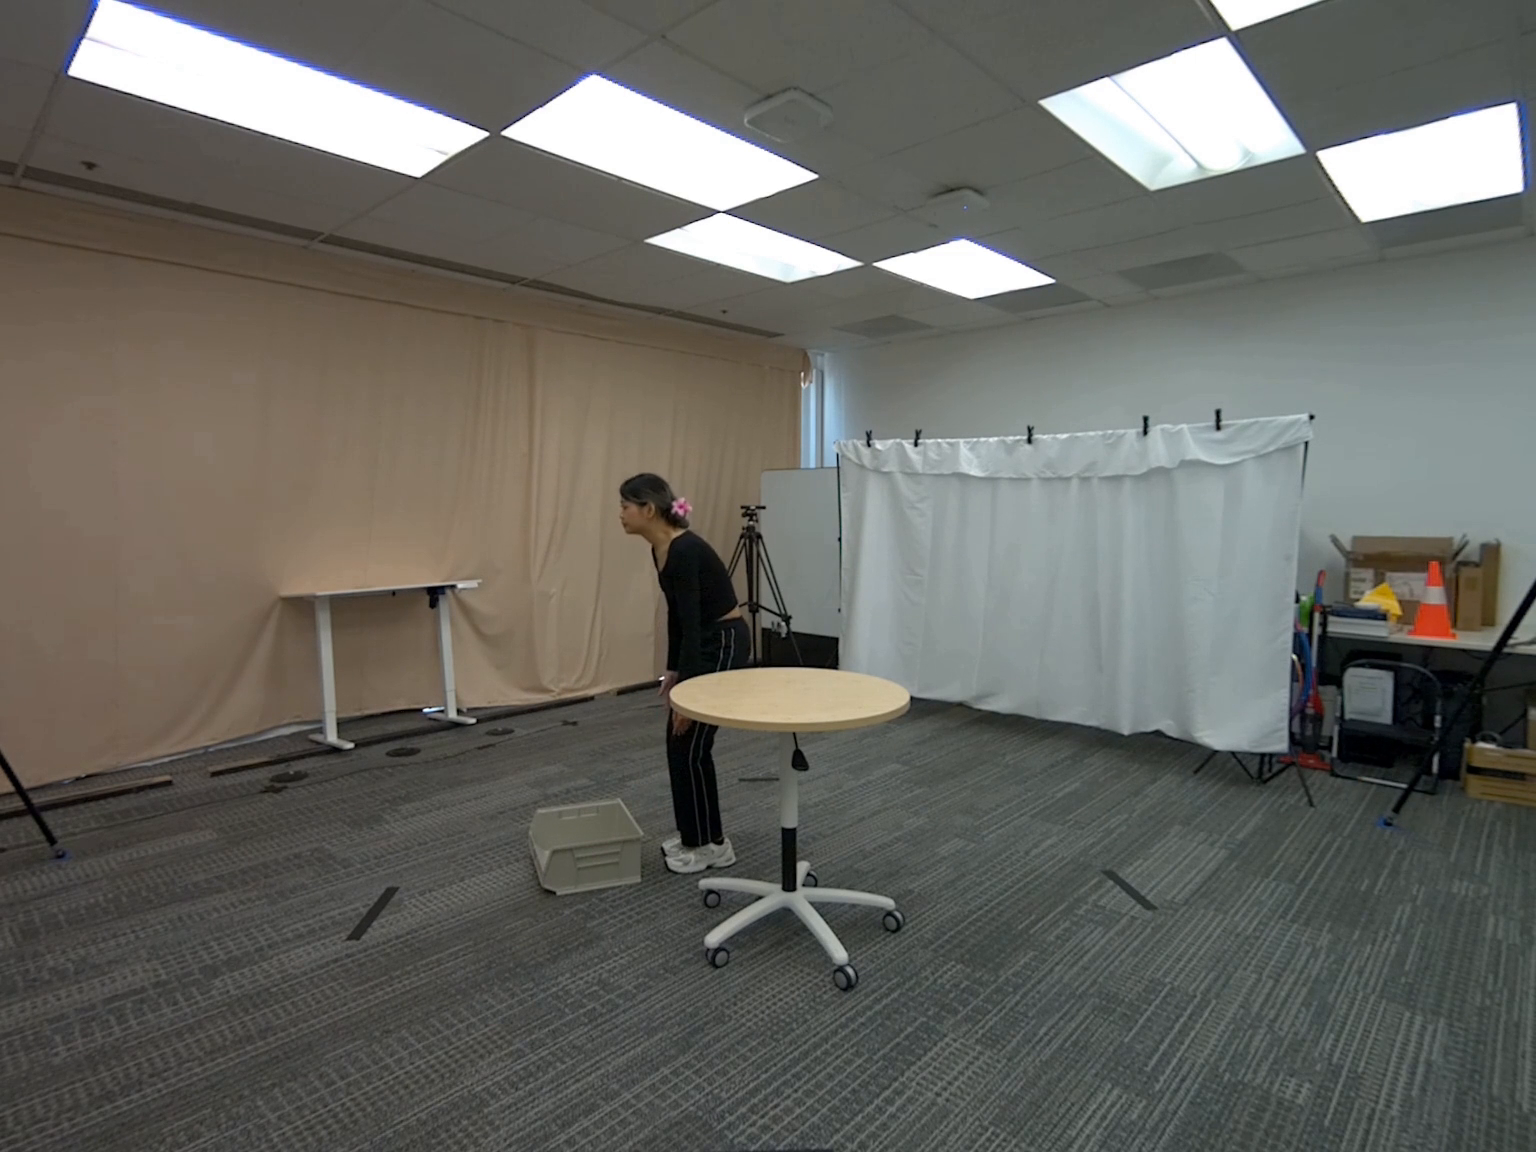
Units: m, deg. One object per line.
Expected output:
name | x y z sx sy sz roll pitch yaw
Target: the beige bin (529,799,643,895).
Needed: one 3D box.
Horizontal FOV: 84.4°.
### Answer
beige bin | -0.715 1.031 3.258 0.370 0.188 0.432 -1 4 -21
